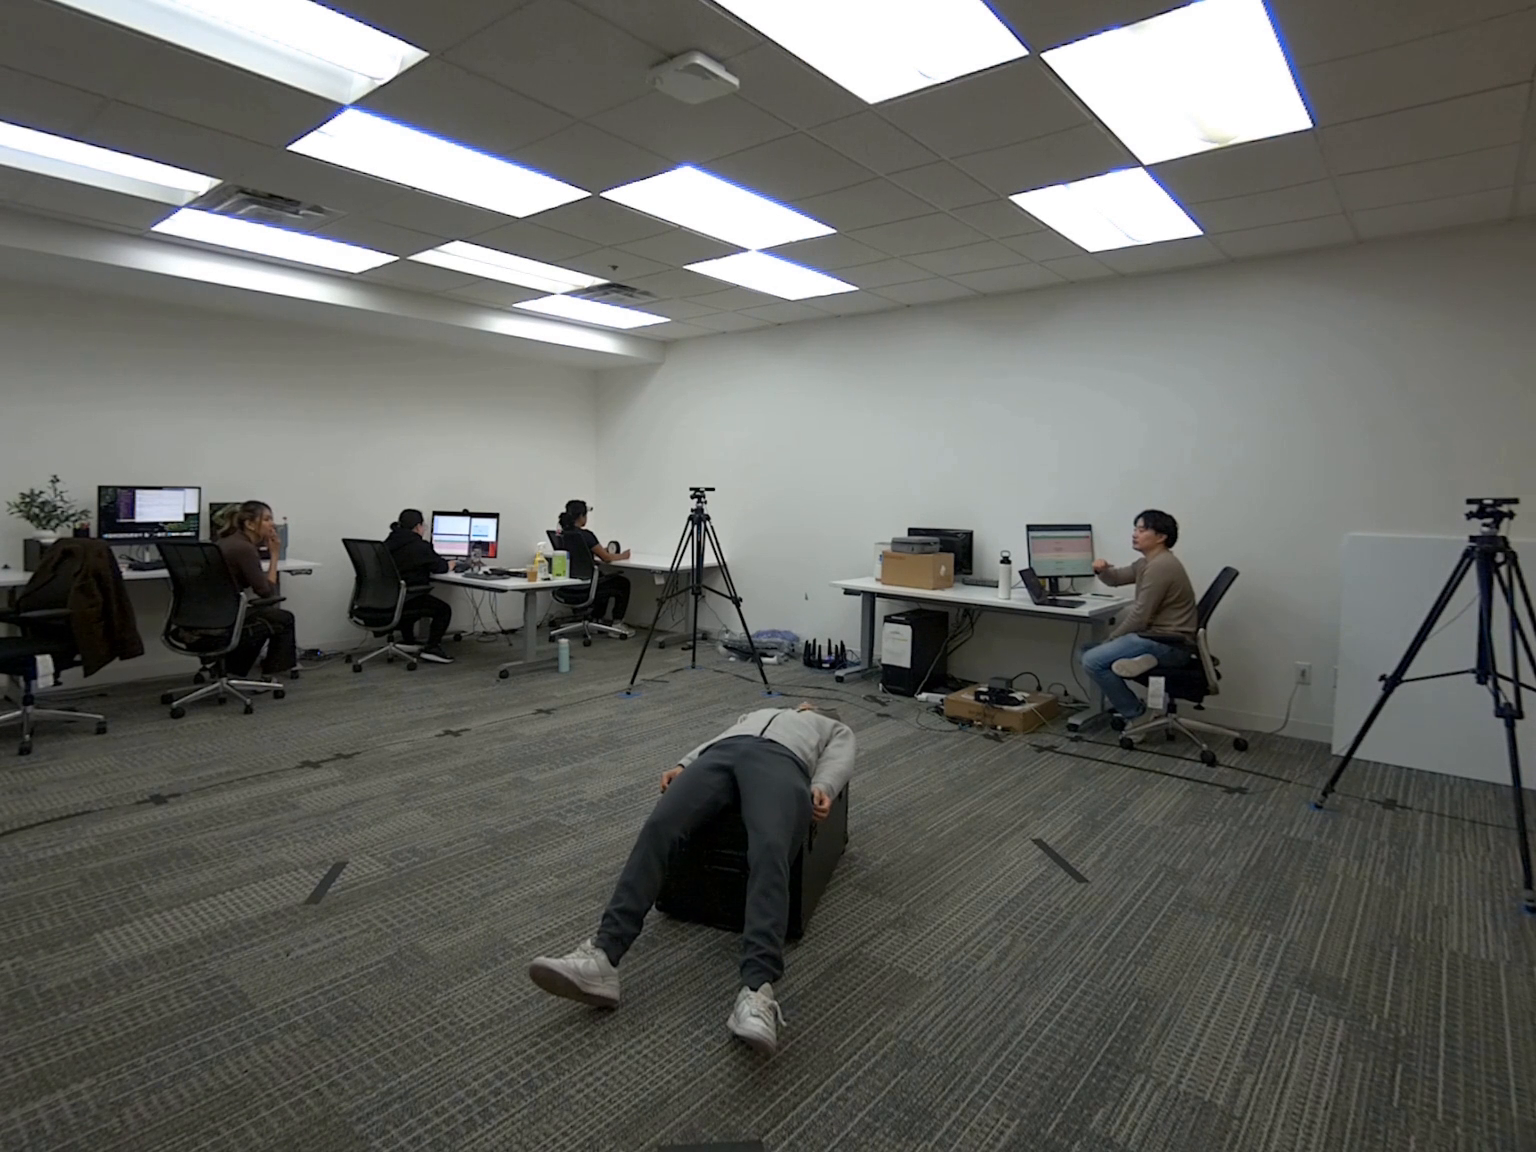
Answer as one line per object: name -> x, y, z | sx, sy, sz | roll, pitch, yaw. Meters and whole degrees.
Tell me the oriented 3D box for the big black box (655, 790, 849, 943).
big black box -> -0.044, 0.898, 2.993 | 0.532, 0.395, 0.847 | 3, 4, 18
